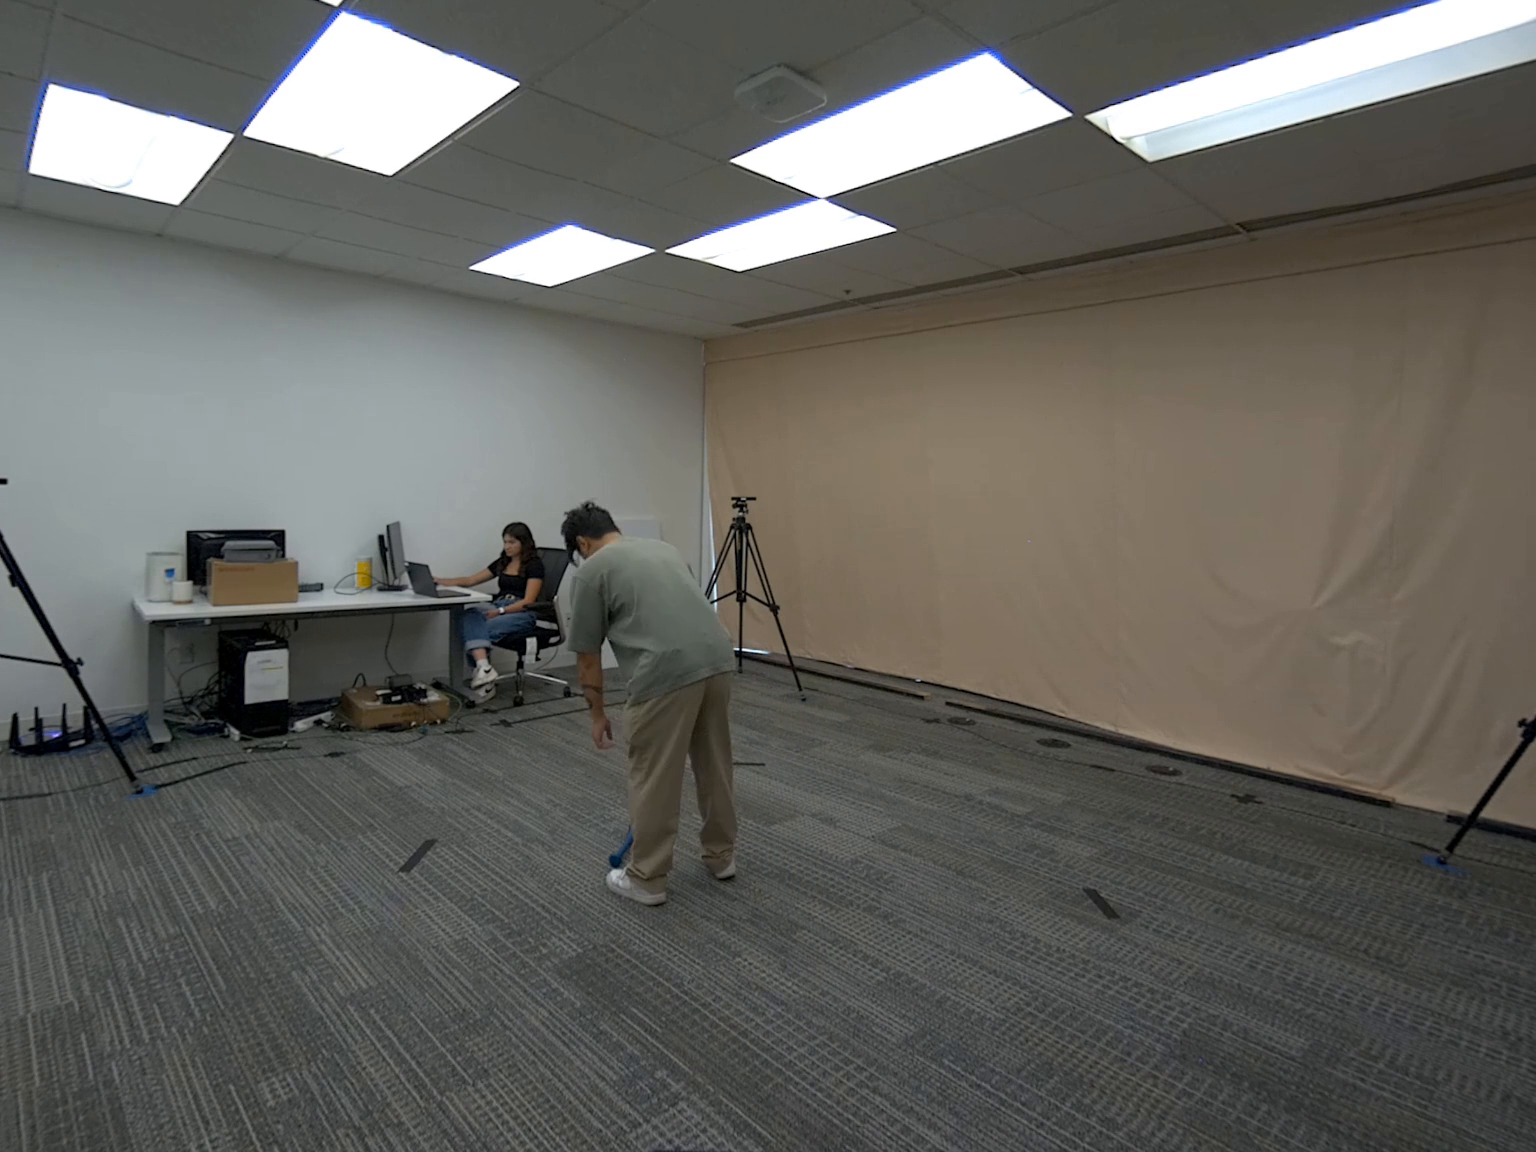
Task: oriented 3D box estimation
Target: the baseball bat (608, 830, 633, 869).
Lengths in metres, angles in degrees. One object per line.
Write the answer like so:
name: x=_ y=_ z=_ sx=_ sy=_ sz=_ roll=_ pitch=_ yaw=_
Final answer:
baseball bat: x=-0.541 y=1.036 z=3.416 sx=0.090 sy=0.088 sz=0.541 roll=2 pitch=8 yaw=9
